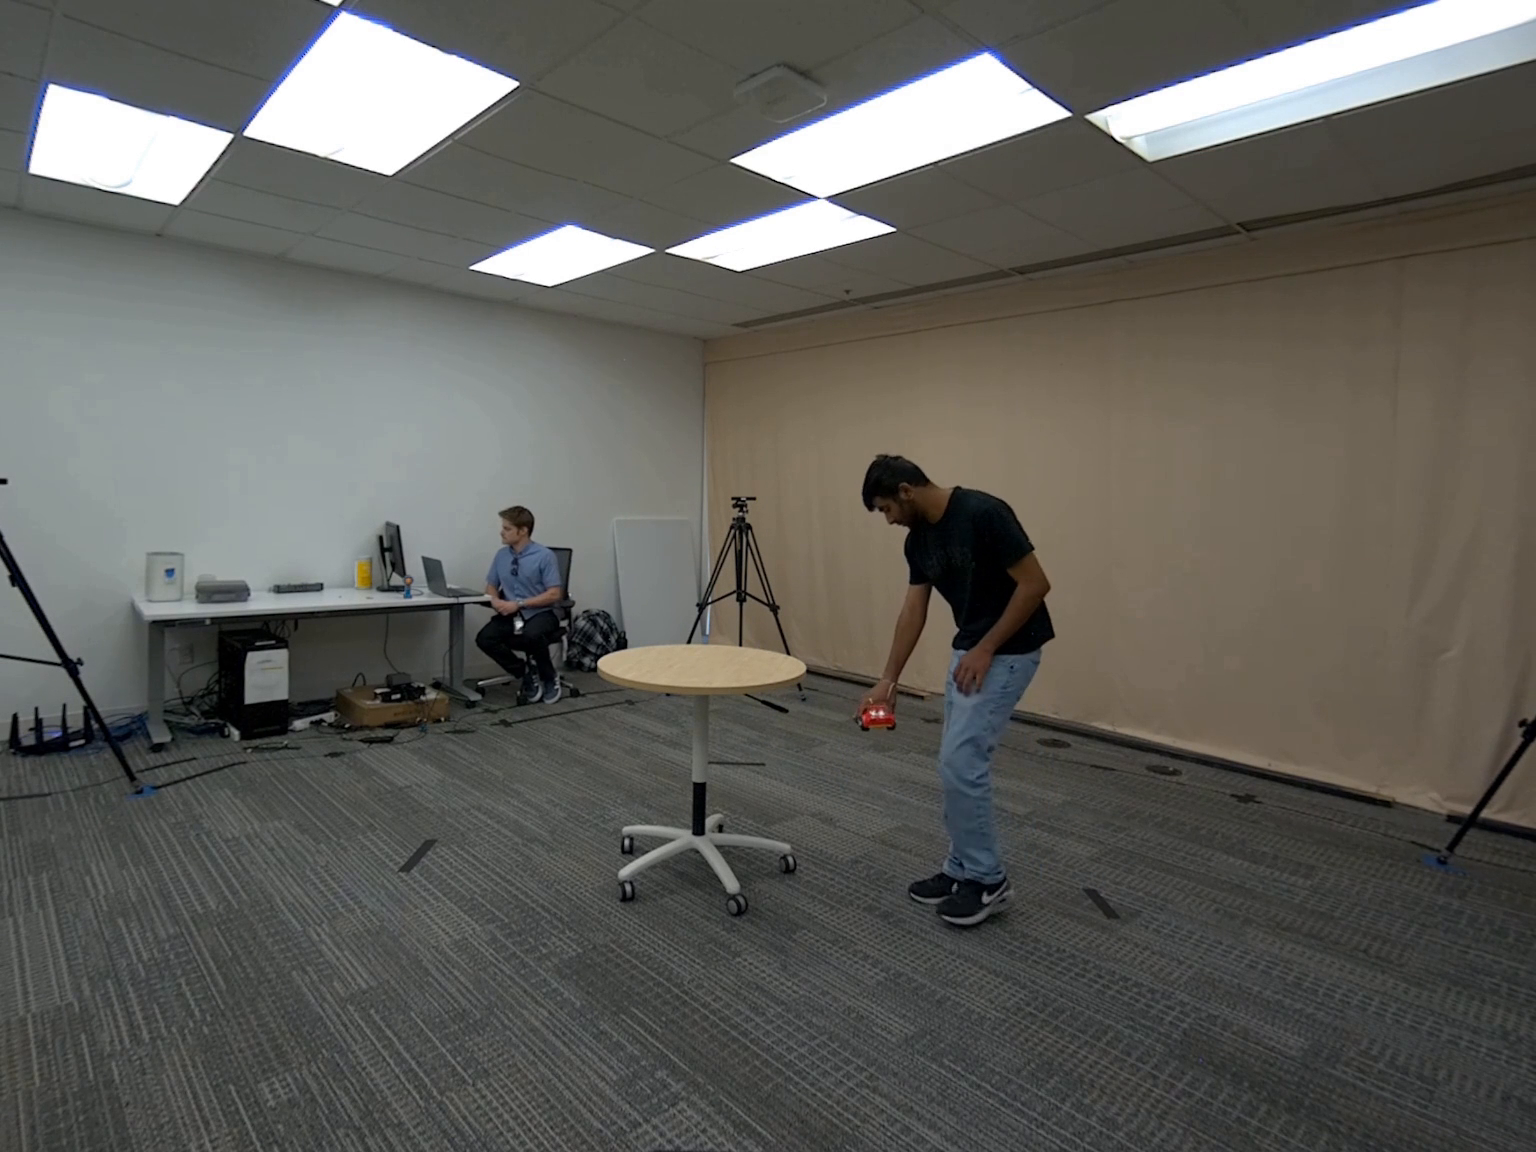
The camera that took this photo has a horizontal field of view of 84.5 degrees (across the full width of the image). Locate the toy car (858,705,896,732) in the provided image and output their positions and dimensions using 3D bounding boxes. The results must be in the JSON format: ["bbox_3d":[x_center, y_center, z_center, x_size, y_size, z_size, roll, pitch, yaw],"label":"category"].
[{"bbox_3d":[0.370,0.507,2.919,0.130,0.084,0.253,-1,-10,-3],"label":"toy car"}]
